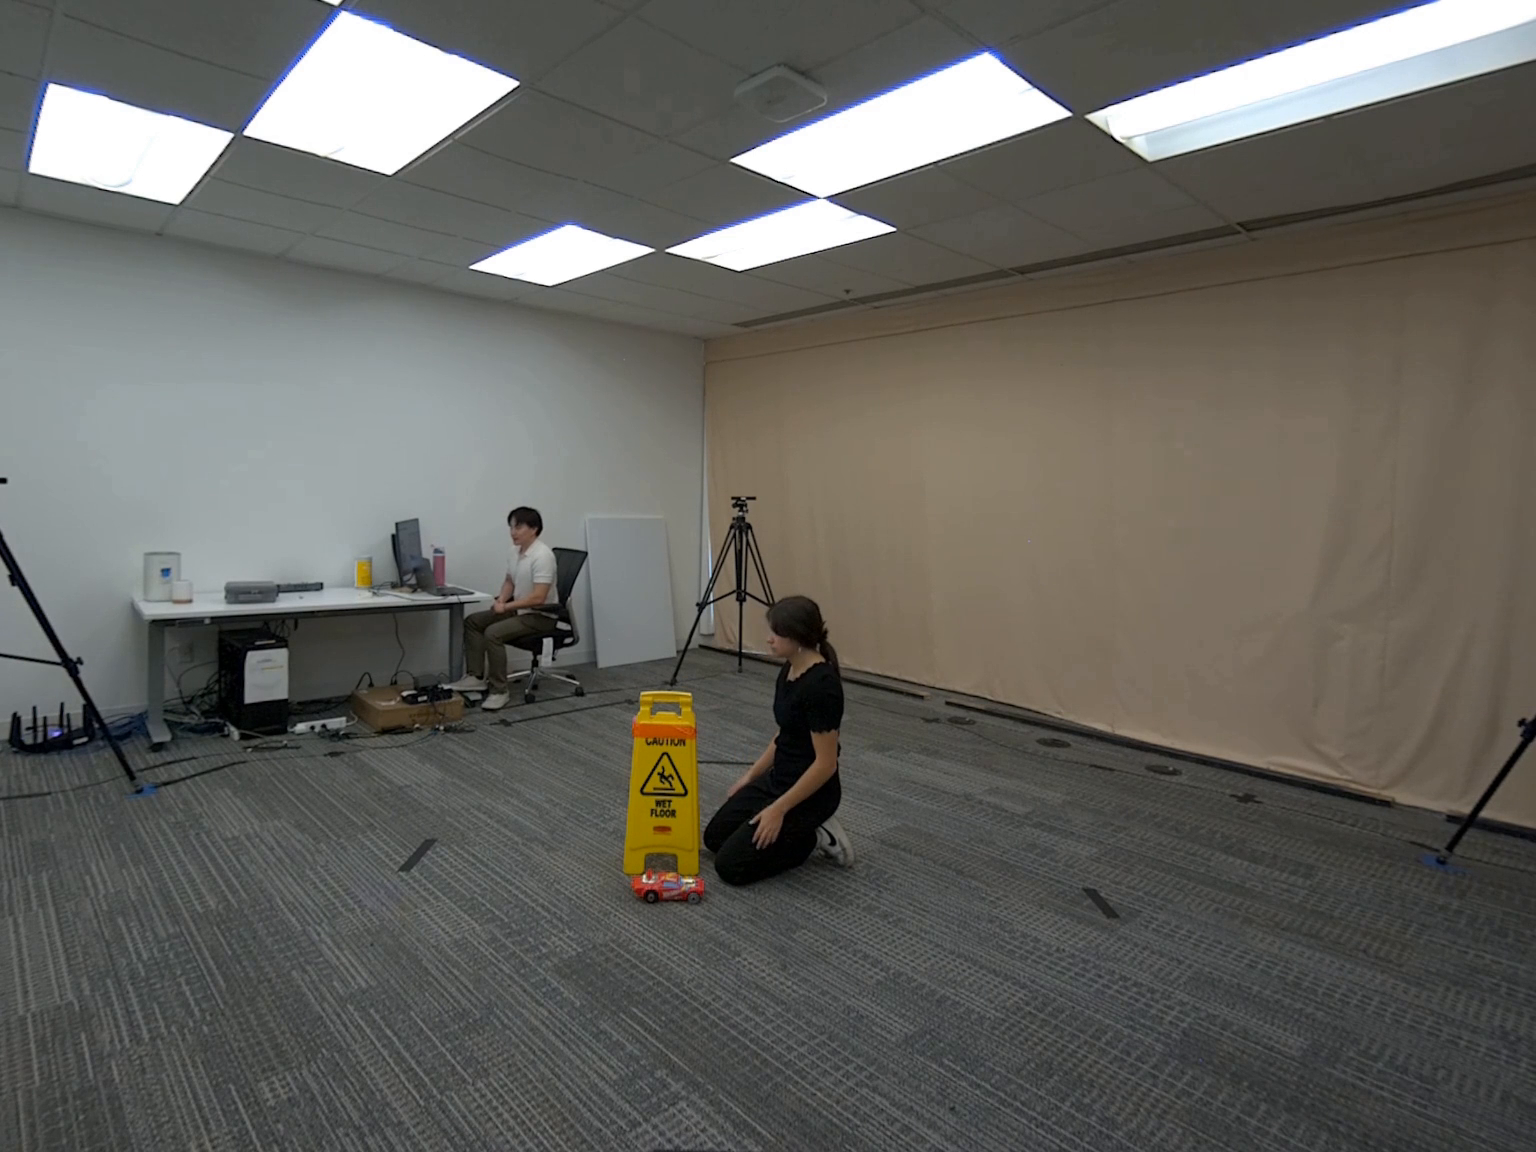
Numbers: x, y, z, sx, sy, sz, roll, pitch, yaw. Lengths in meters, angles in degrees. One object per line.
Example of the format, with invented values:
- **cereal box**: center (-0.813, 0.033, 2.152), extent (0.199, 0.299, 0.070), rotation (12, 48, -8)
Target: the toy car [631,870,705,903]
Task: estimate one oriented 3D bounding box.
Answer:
- **toy car**: center (-0.371, 1.086, 2.934), extent (0.254, 0.083, 0.131), rotation (12, 5, -4)
